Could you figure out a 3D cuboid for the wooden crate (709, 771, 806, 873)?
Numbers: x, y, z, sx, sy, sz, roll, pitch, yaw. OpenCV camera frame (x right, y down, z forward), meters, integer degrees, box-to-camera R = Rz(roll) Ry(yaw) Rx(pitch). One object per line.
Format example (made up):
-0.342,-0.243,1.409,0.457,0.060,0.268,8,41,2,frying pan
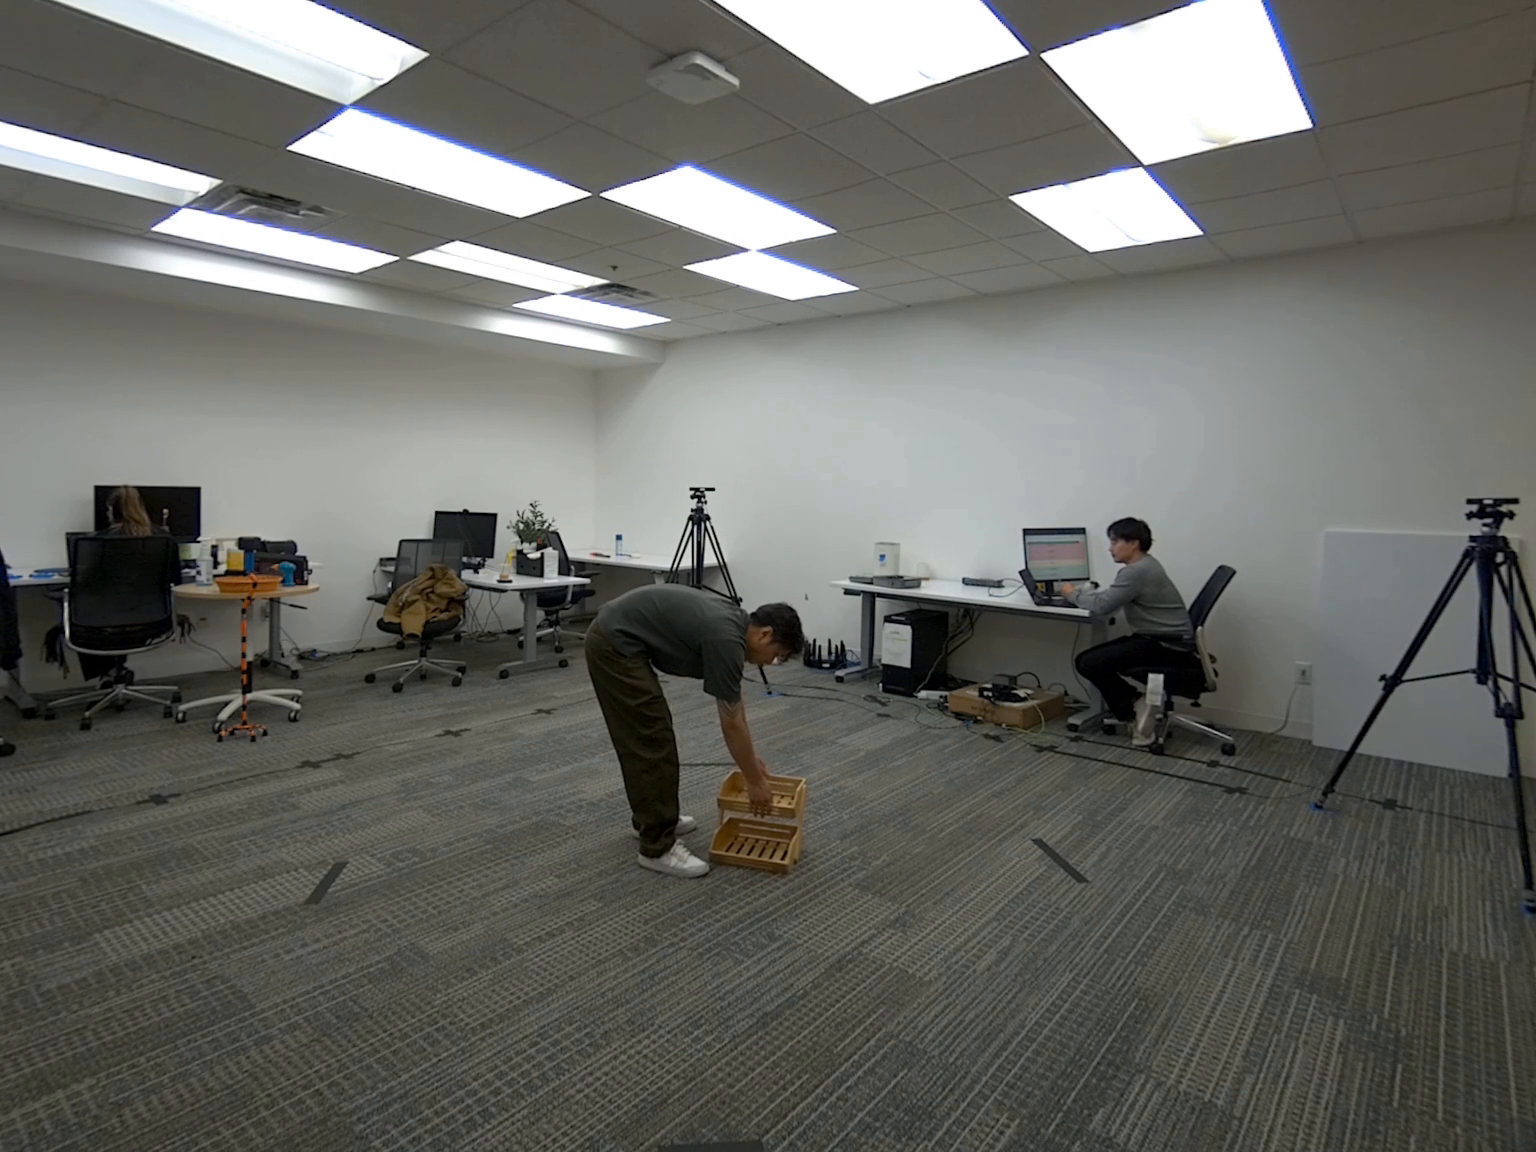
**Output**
-0.044,0.923,3.233,0.330,0.272,0.298,2,5,15,wooden crate
